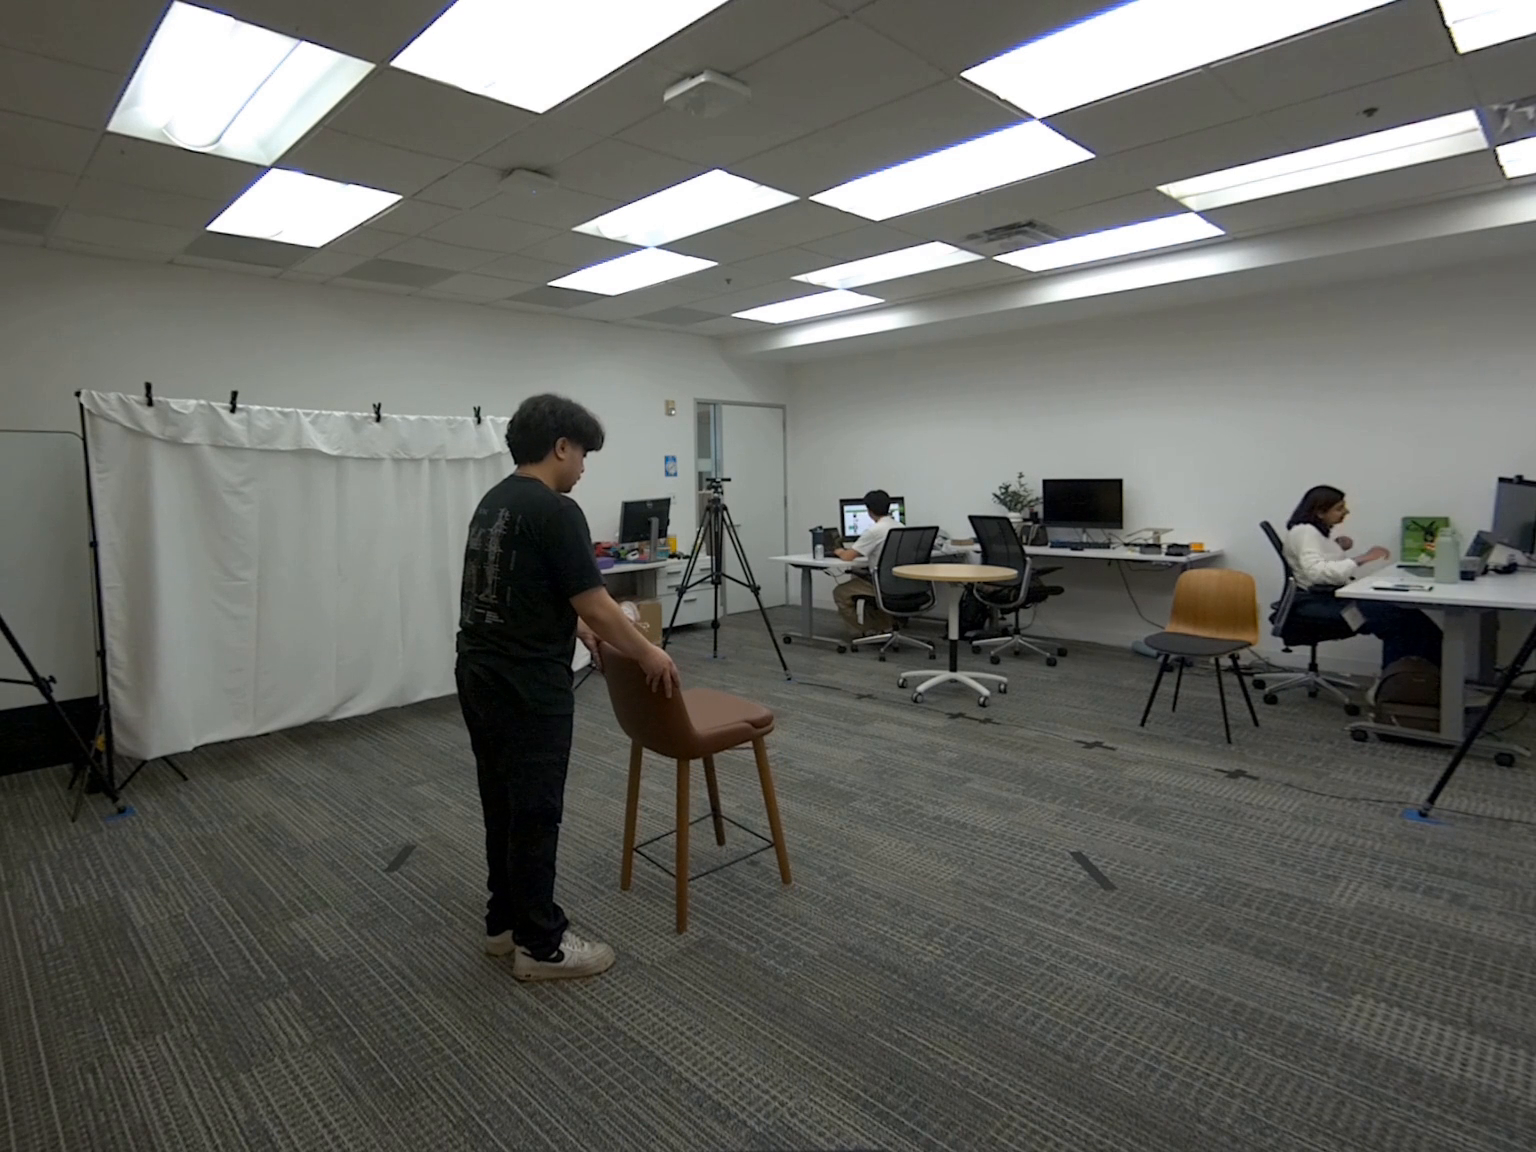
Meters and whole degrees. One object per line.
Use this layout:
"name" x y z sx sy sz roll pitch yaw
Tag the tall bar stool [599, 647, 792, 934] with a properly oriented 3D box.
"tall bar stool" -0.252 0.624 2.858 0.457 0.883 0.470 -11 10 -37
